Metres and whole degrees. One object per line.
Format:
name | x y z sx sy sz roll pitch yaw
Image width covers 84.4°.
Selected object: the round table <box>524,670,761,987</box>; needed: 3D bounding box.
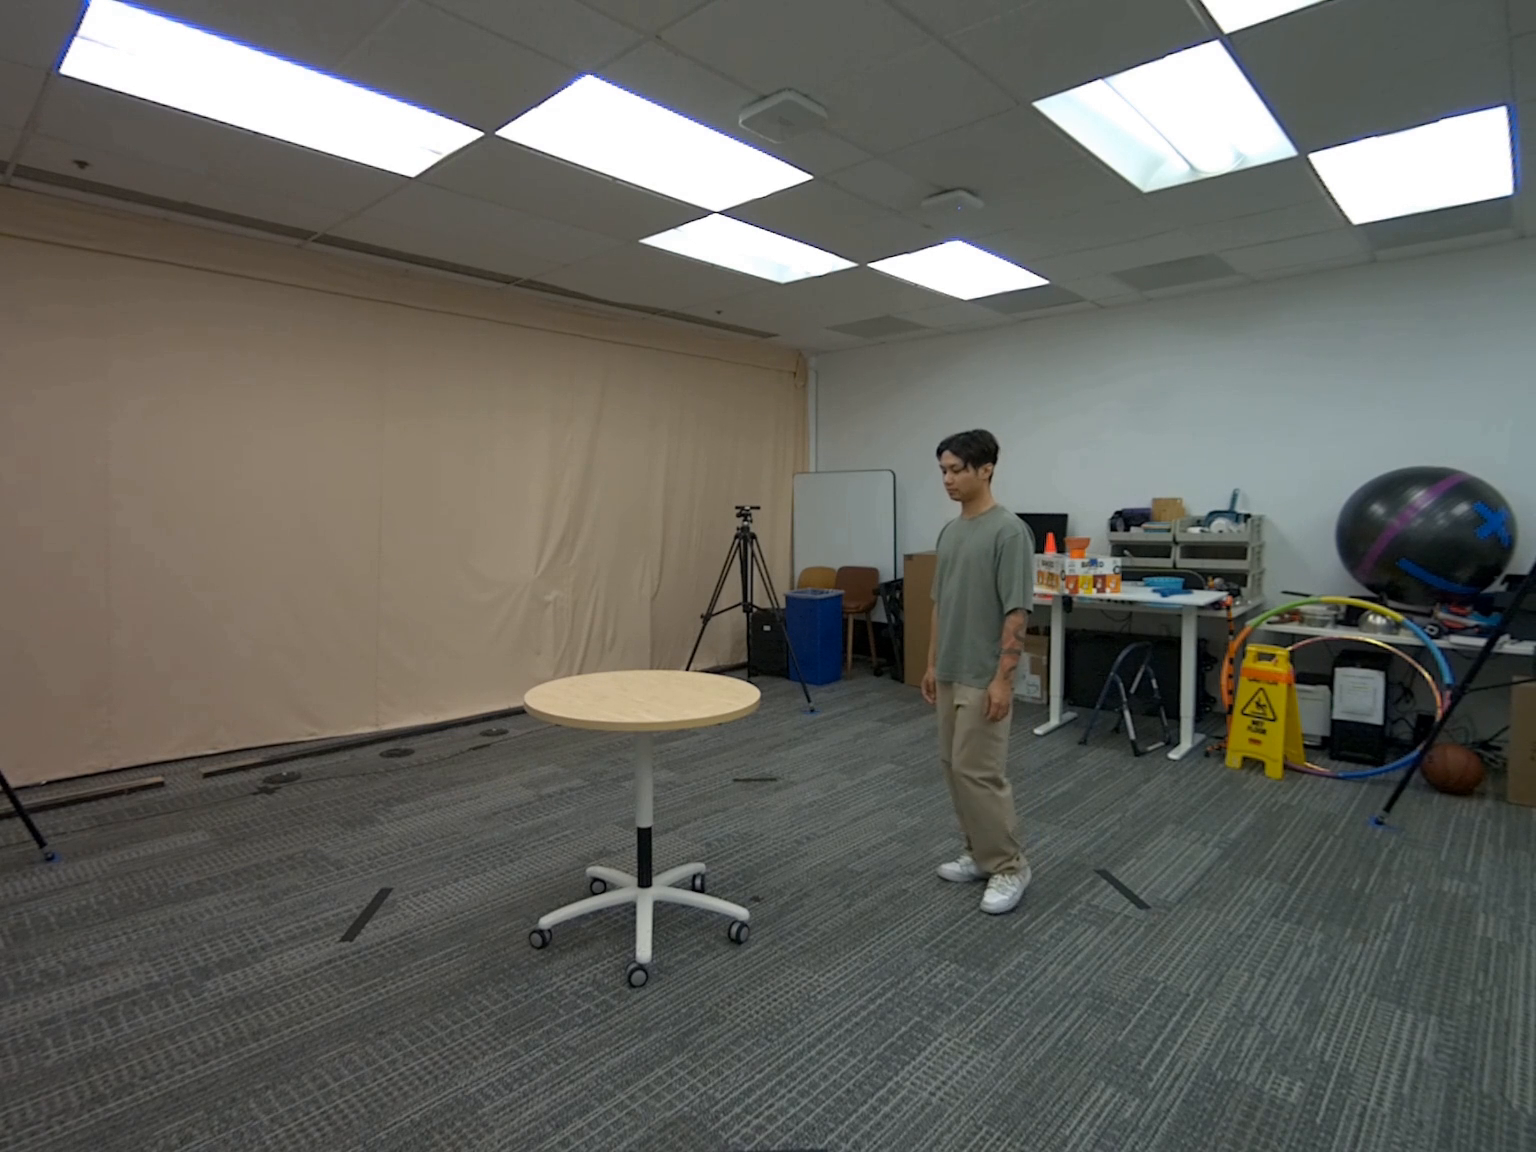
round table | -0.419 0.773 2.771 0.784 0.785 0.788 1 3 -2
